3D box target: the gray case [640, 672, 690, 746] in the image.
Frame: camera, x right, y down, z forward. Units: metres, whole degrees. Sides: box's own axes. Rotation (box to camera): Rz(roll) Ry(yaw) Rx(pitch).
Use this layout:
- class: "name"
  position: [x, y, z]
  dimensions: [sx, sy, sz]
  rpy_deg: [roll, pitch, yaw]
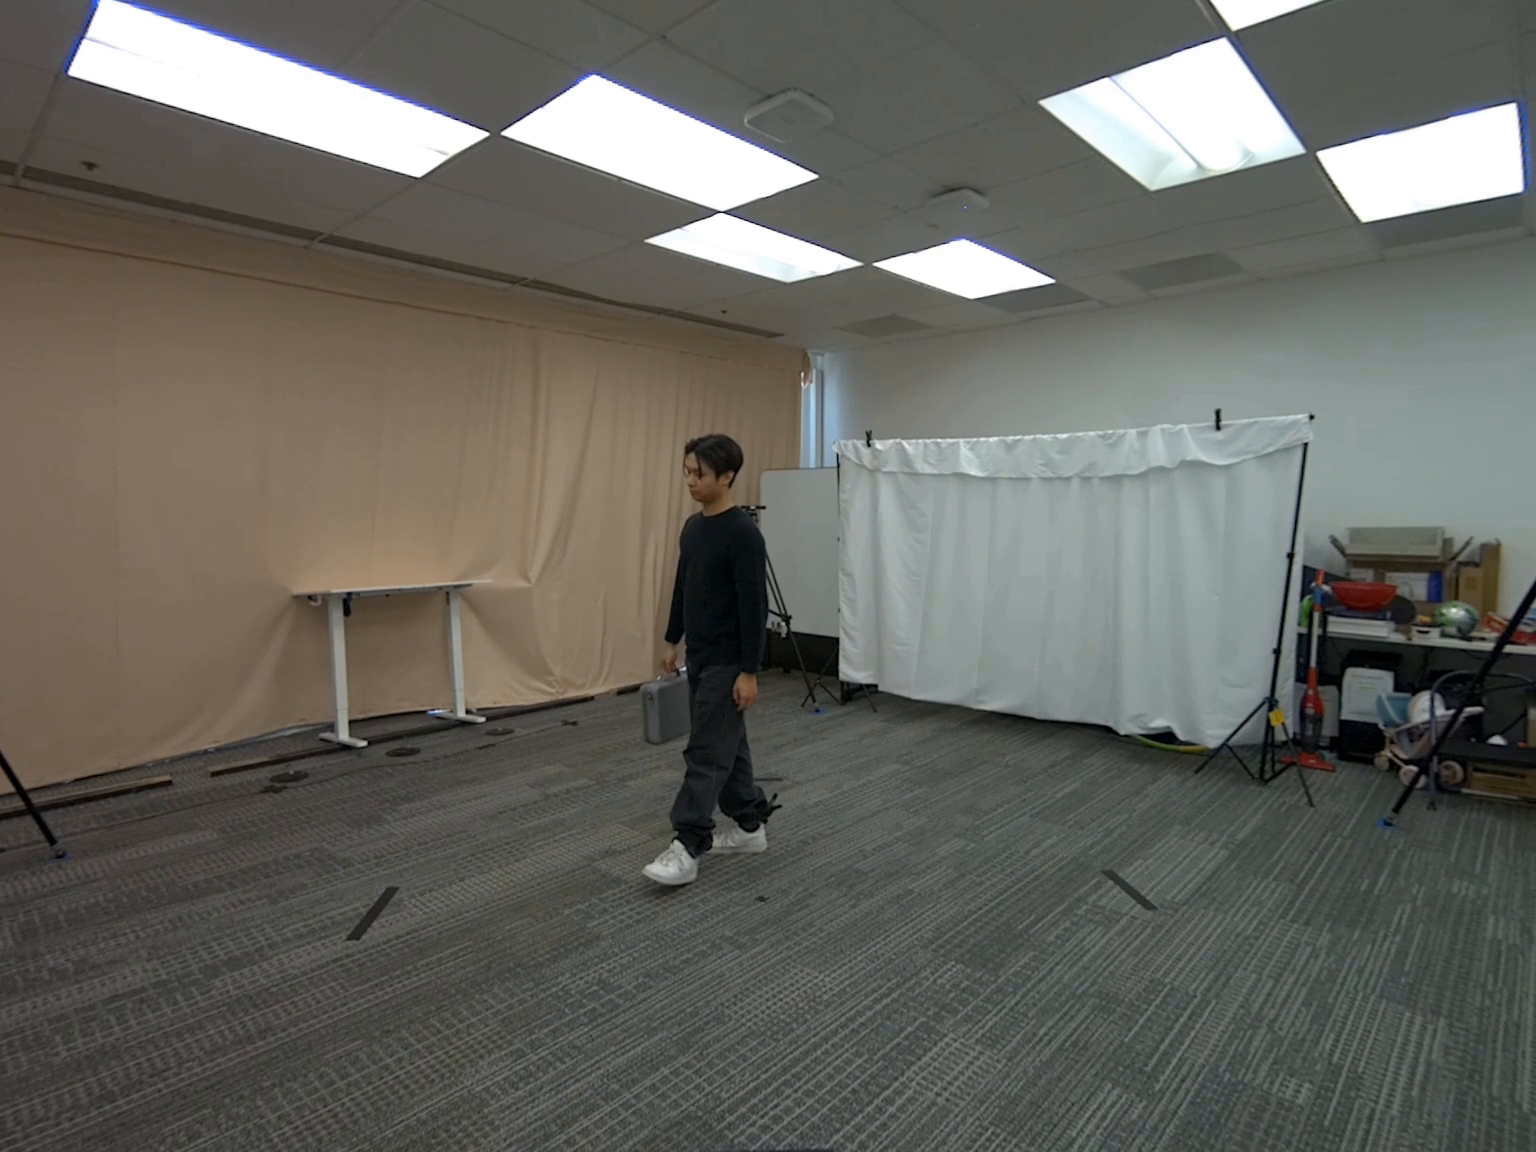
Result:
- class: "gray case"
  position: [-0.400, 0.542, 3.516]
  dimensions: [0.107, 0.259, 0.250]
  rpy_deg: [2, 8, 35]
